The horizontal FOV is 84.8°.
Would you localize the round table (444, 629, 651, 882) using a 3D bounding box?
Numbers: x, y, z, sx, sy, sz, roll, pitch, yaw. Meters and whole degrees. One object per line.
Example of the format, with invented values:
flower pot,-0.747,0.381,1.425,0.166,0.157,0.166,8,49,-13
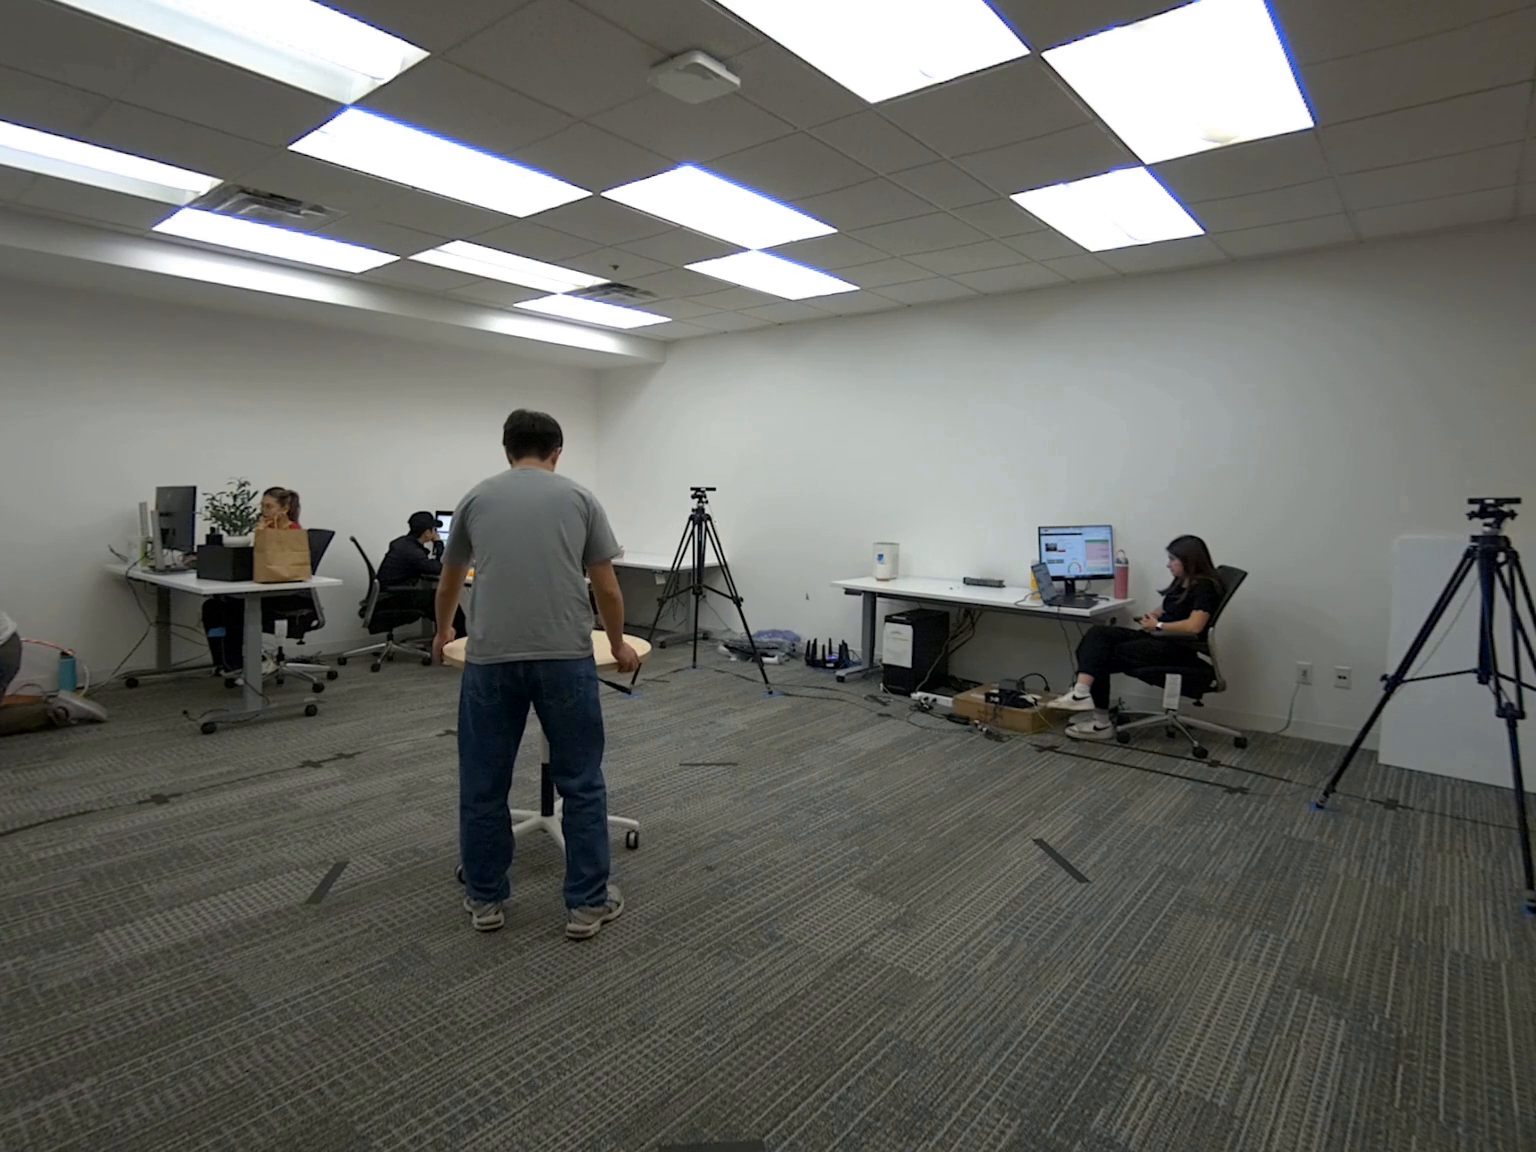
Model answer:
round table,-0.839,0.653,3.205,0.763,0.791,0.768,1,4,-2
